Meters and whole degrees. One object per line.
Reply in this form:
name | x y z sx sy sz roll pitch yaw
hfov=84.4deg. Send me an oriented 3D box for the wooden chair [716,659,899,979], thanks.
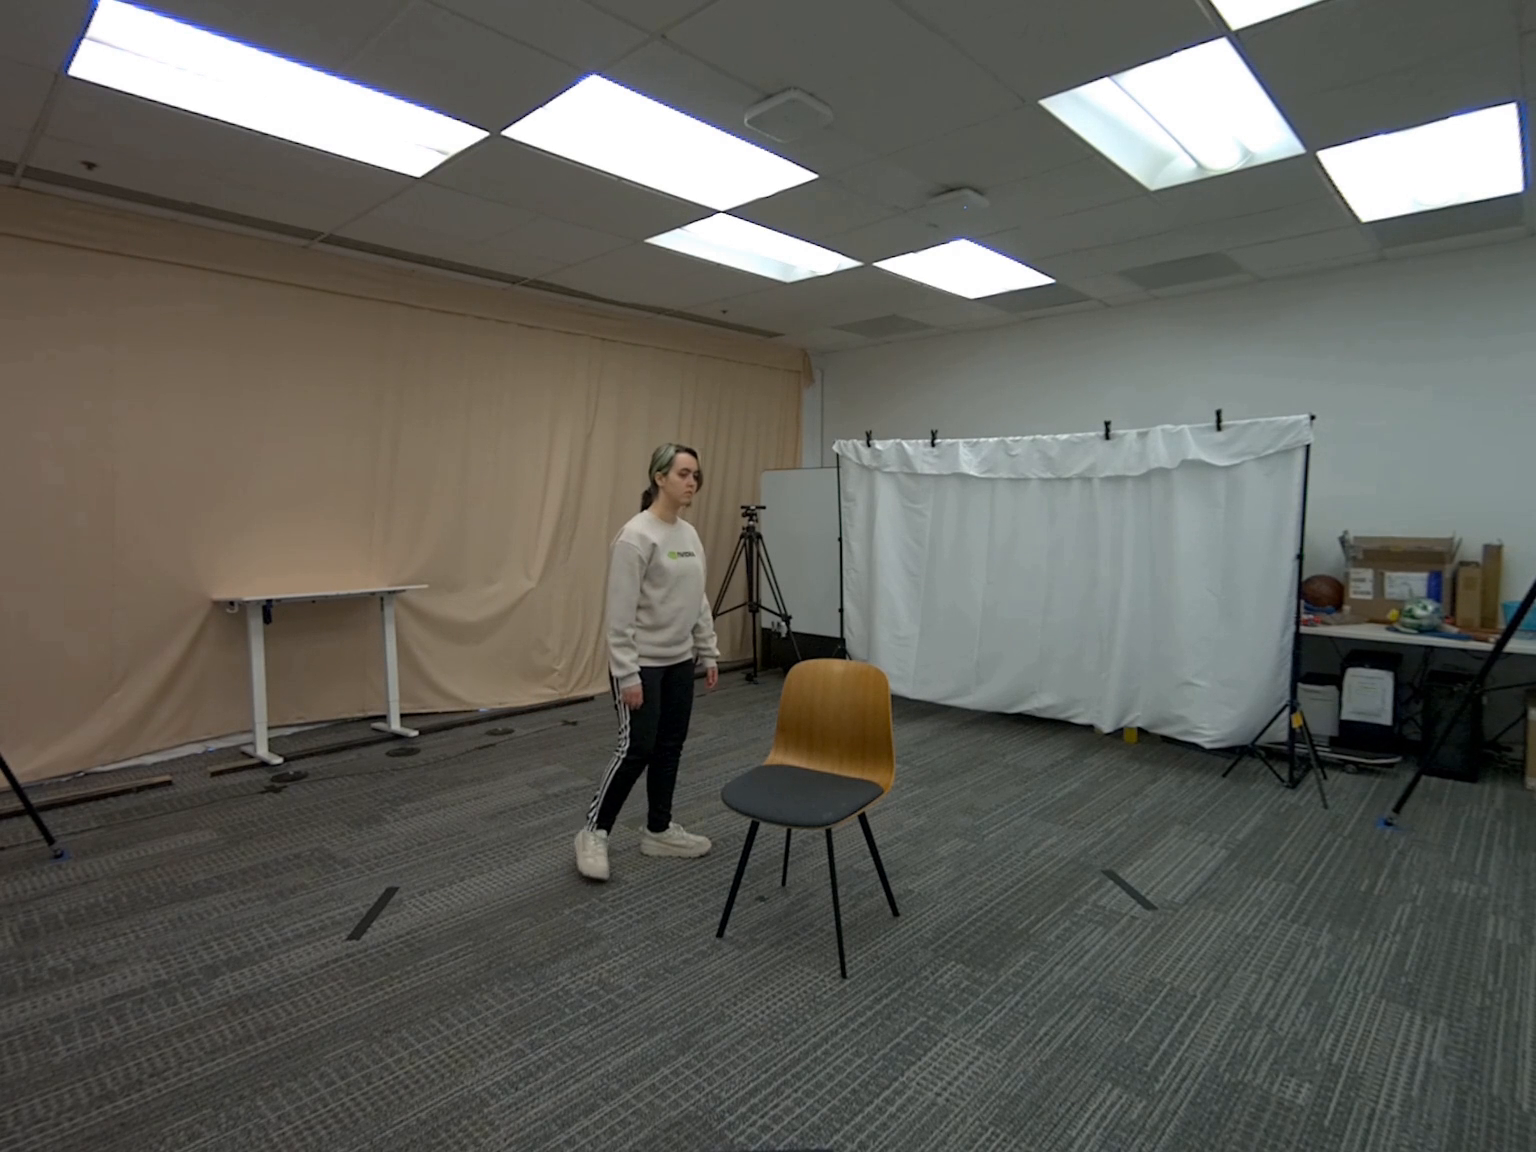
wooden chair | 0.140 0.734 2.747 0.492 0.877 0.508 2 0 31
